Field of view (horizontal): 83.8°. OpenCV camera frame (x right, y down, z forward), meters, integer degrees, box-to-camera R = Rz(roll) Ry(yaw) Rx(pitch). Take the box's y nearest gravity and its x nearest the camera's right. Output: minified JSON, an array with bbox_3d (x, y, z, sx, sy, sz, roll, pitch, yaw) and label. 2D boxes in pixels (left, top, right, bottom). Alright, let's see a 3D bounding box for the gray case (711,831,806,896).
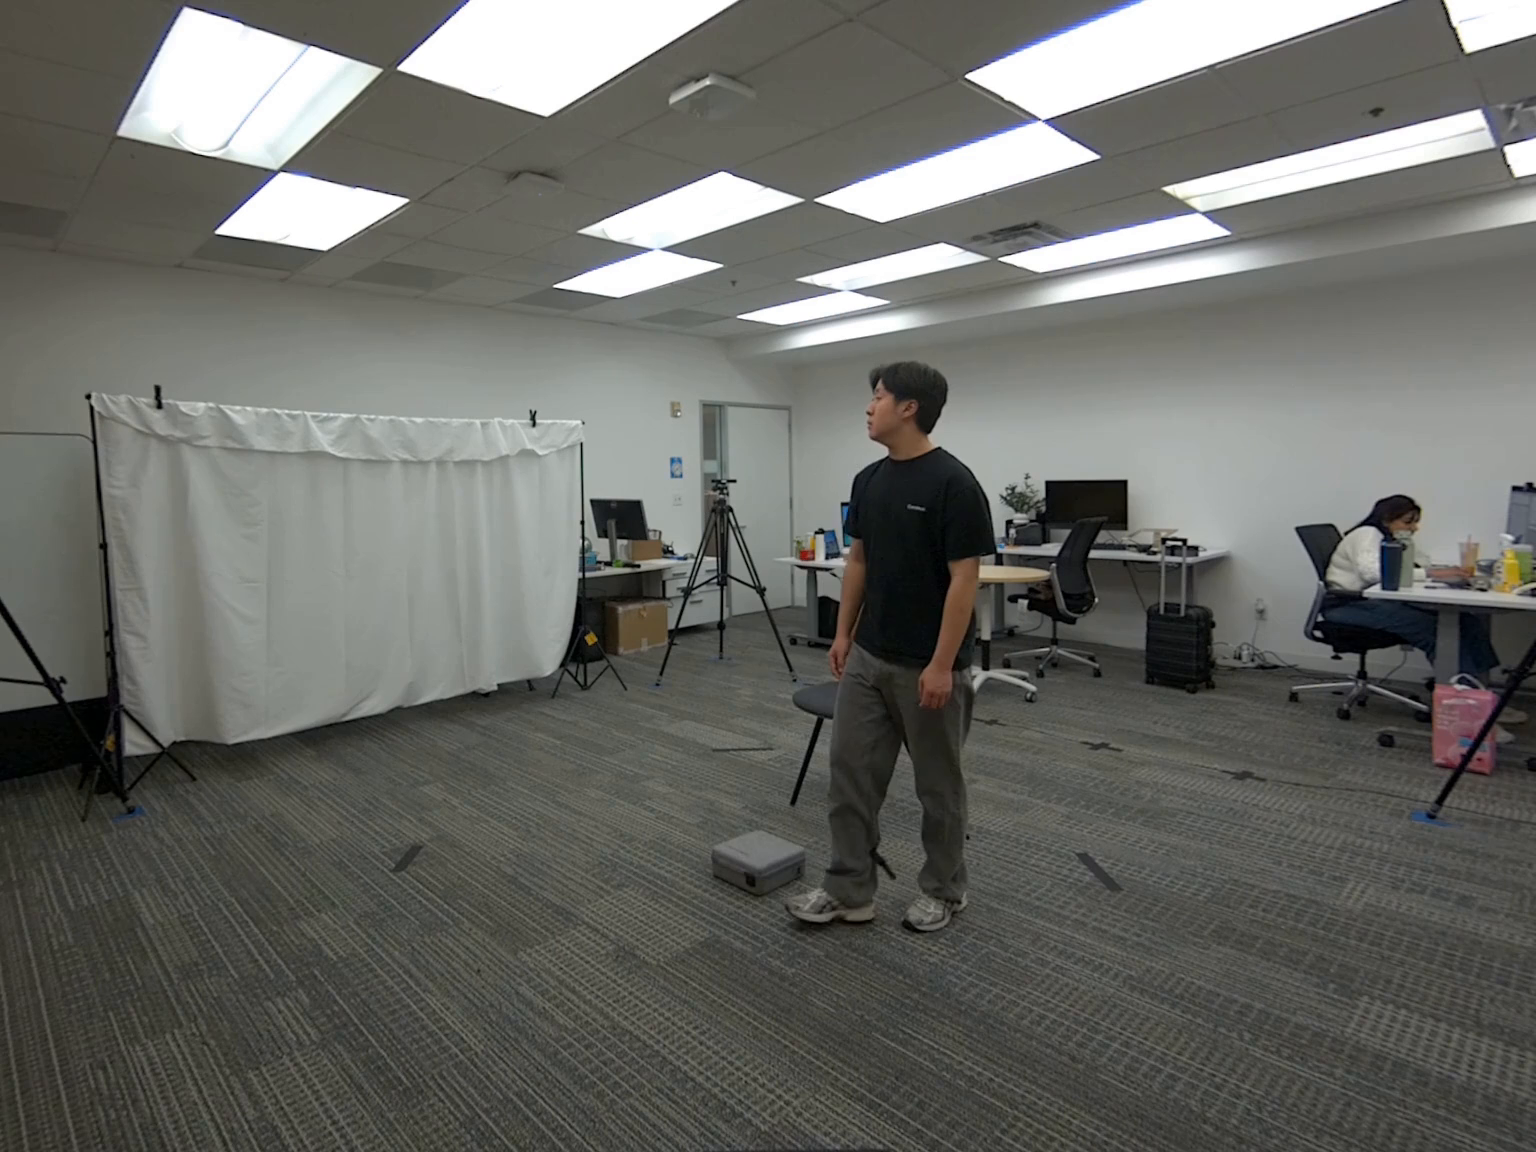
[{"bbox_3d":[-0.025,1.002,3.025,0.279,0.103,0.271,-5,7,-45],"label":"gray case"}]
